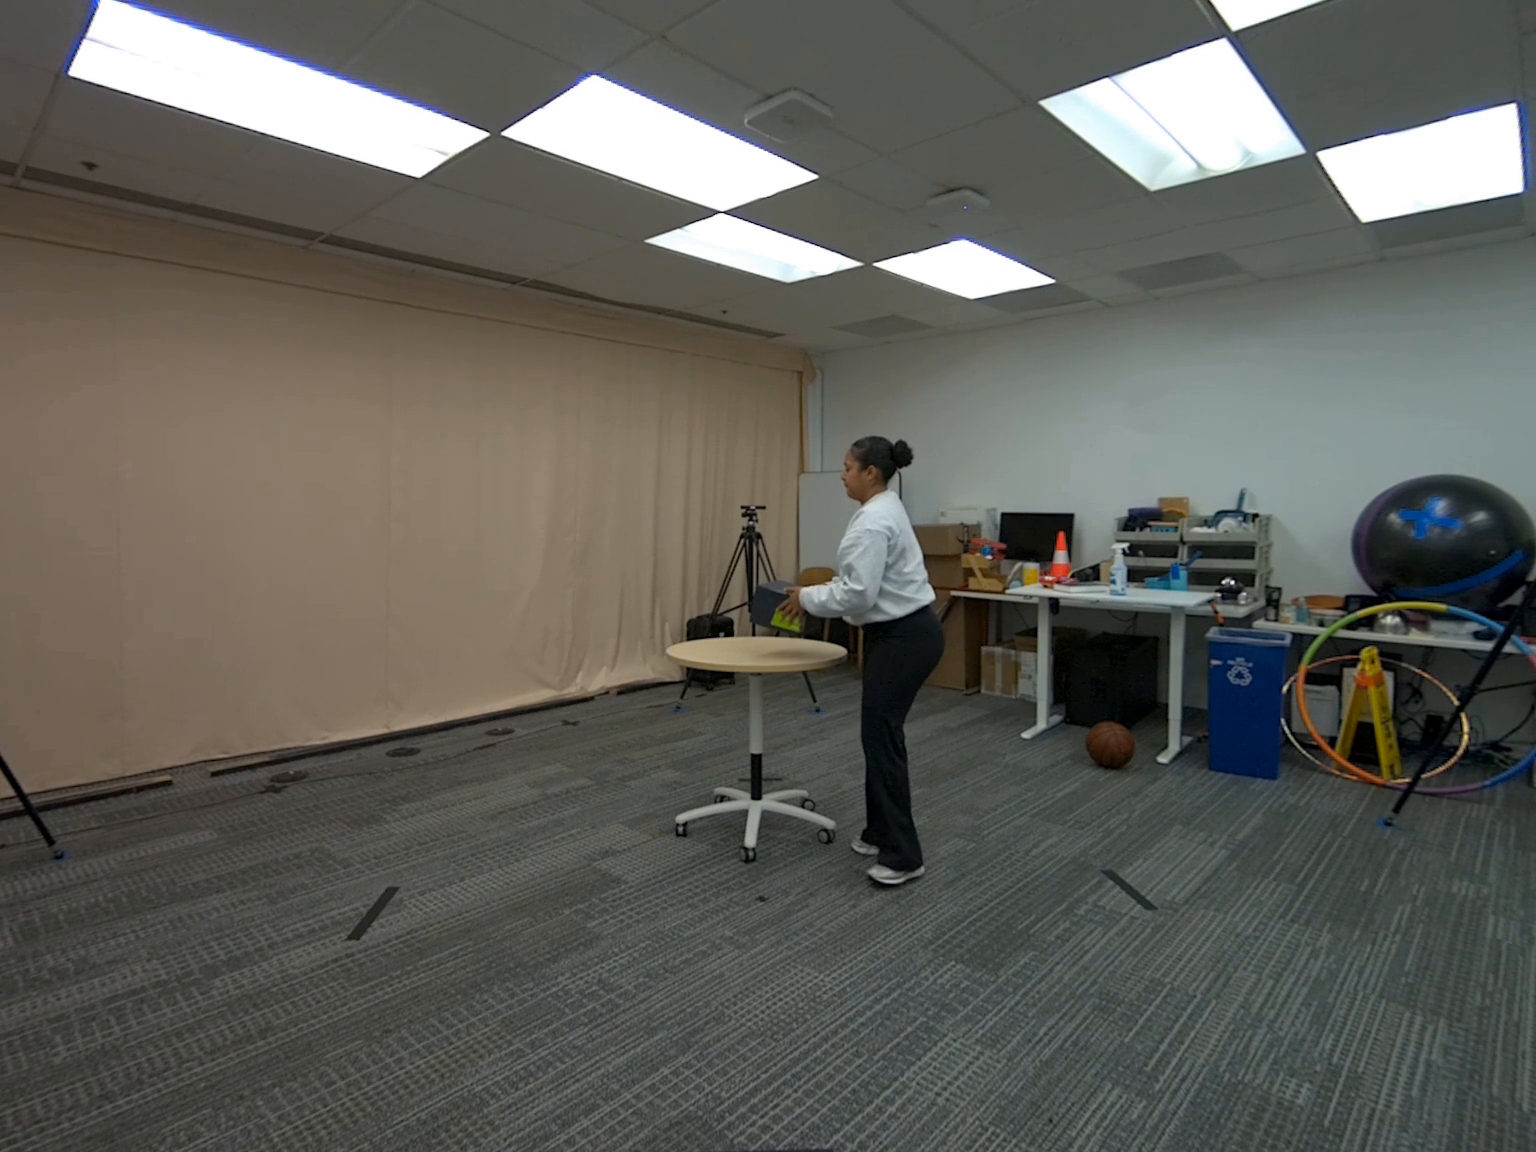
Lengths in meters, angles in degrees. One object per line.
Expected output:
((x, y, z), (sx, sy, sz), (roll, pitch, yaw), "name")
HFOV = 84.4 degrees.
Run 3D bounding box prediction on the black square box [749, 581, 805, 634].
((0.085, 0.128, 3.408), (0.234, 0.155, 0.212), (14, 11, 25), "black square box")
